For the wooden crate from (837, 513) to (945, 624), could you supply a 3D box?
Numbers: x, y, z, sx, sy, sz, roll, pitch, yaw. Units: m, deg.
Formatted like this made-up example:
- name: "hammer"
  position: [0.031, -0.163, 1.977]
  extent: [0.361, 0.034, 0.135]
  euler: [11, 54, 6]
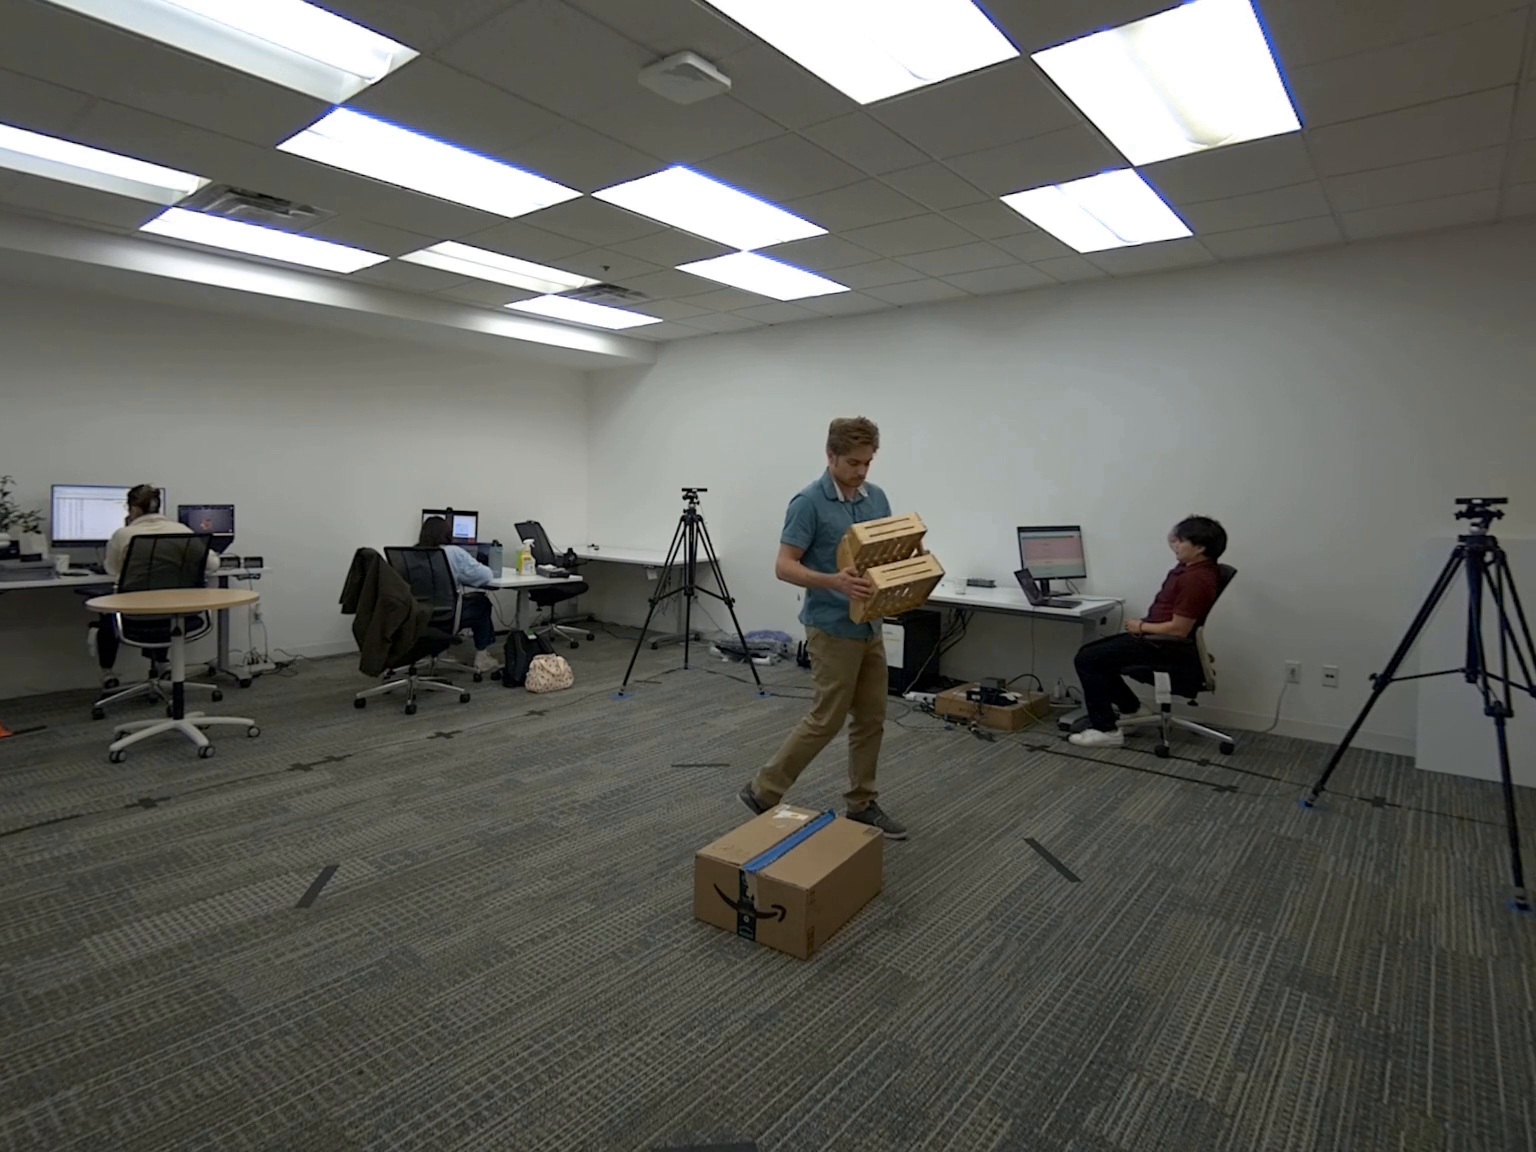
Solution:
- name: "wooden crate"
  position: [0.436, -0.034, 3.228]
  extent: [0.318, 0.283, 0.297]
  euler: [-12, -32, -25]
